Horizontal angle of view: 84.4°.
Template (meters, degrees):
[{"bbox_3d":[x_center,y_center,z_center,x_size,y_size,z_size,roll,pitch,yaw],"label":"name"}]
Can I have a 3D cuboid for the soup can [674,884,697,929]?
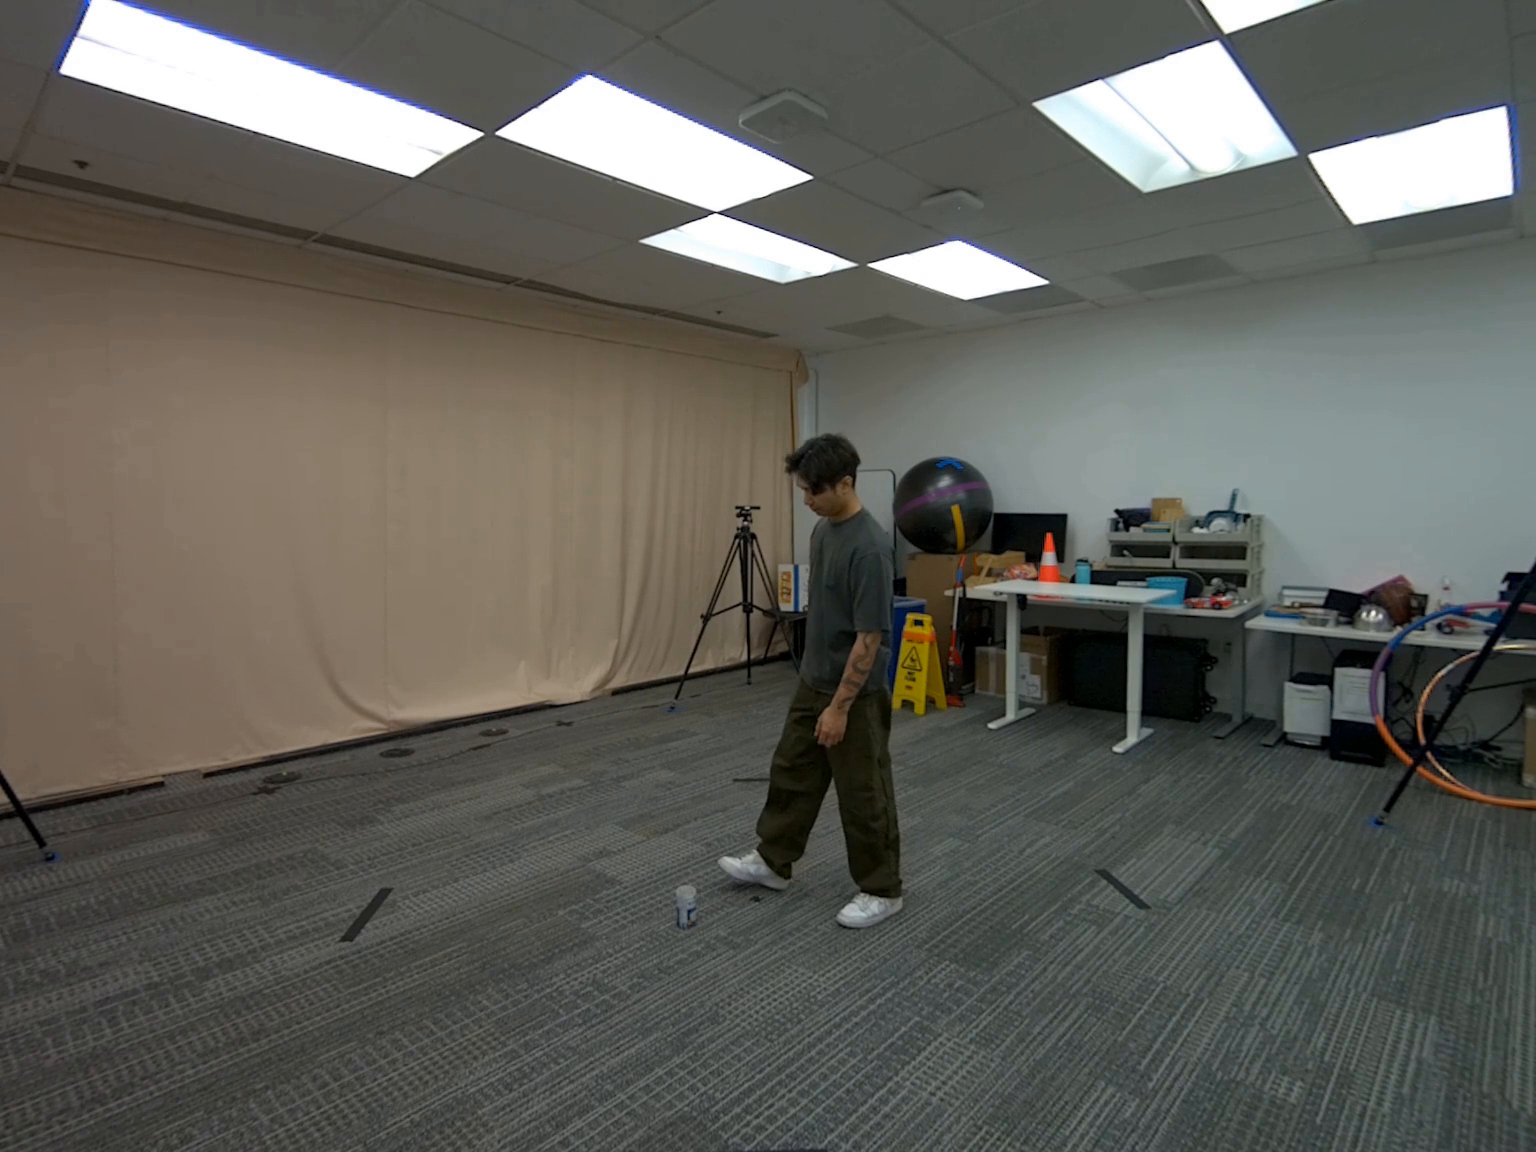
[{"bbox_3d":[-0.268,1.108,2.798,0.067,0.121,0.067,-2,1,-2],"label":"soup can"}]
